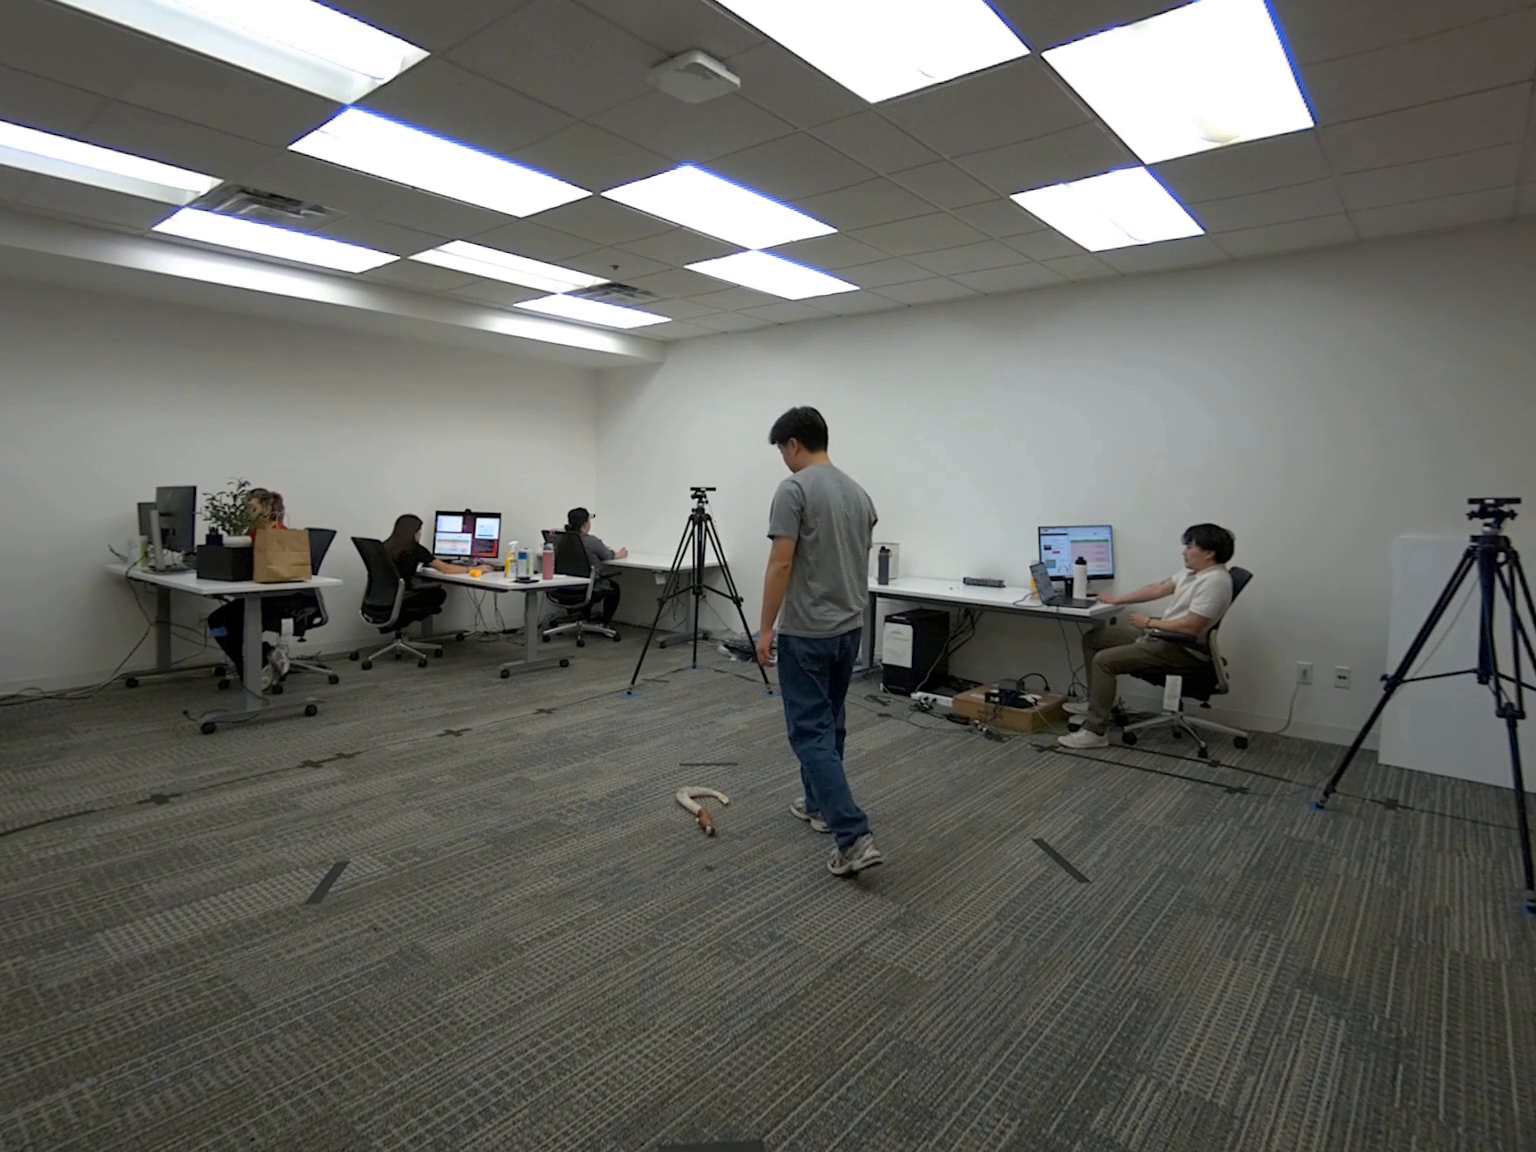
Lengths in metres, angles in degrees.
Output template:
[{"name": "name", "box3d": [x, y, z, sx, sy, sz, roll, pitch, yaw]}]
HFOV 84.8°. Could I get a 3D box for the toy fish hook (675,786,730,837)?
[{"name": "toy fish hook", "box3d": [-0.260, 0.986, 3.637, 0.221, 0.048, 0.517, -2, 7, -16]}]
